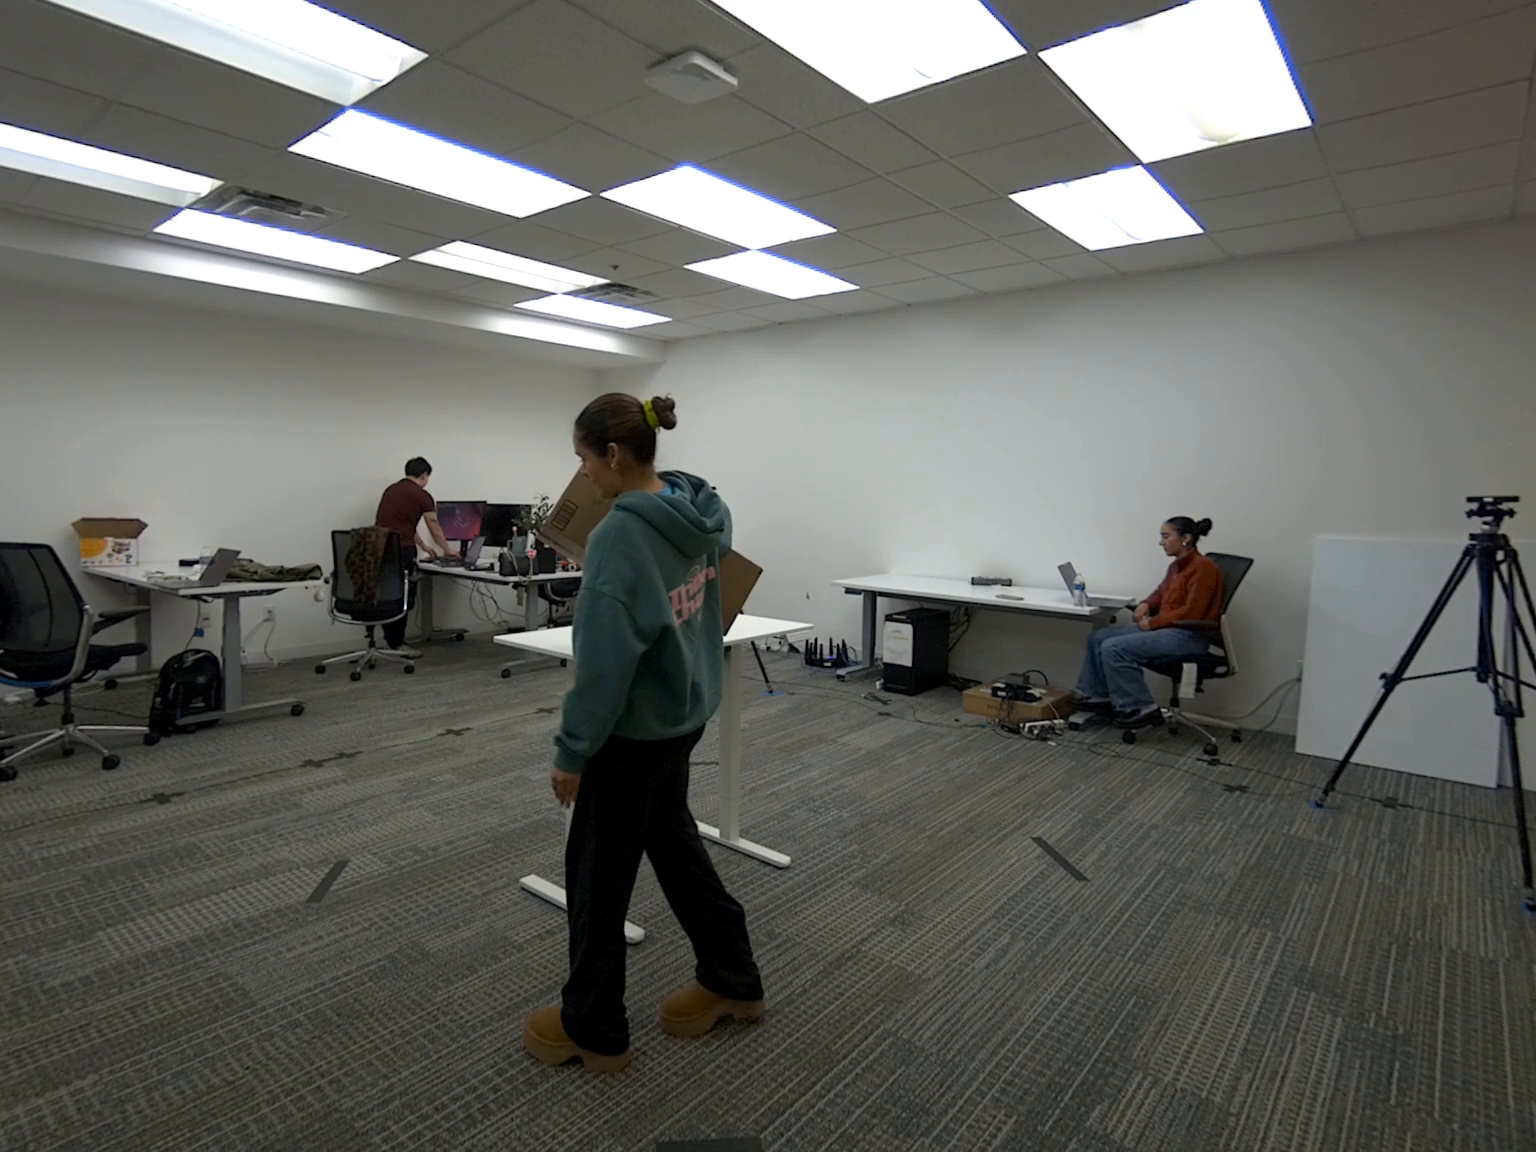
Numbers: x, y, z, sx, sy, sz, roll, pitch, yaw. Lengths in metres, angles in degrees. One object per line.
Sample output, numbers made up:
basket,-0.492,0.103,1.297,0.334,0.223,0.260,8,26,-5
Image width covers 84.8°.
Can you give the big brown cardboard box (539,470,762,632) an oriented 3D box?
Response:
big brown cardboard box,-0.360,-0.065,2.443,0.580,0.234,0.423,33,-12,-12
